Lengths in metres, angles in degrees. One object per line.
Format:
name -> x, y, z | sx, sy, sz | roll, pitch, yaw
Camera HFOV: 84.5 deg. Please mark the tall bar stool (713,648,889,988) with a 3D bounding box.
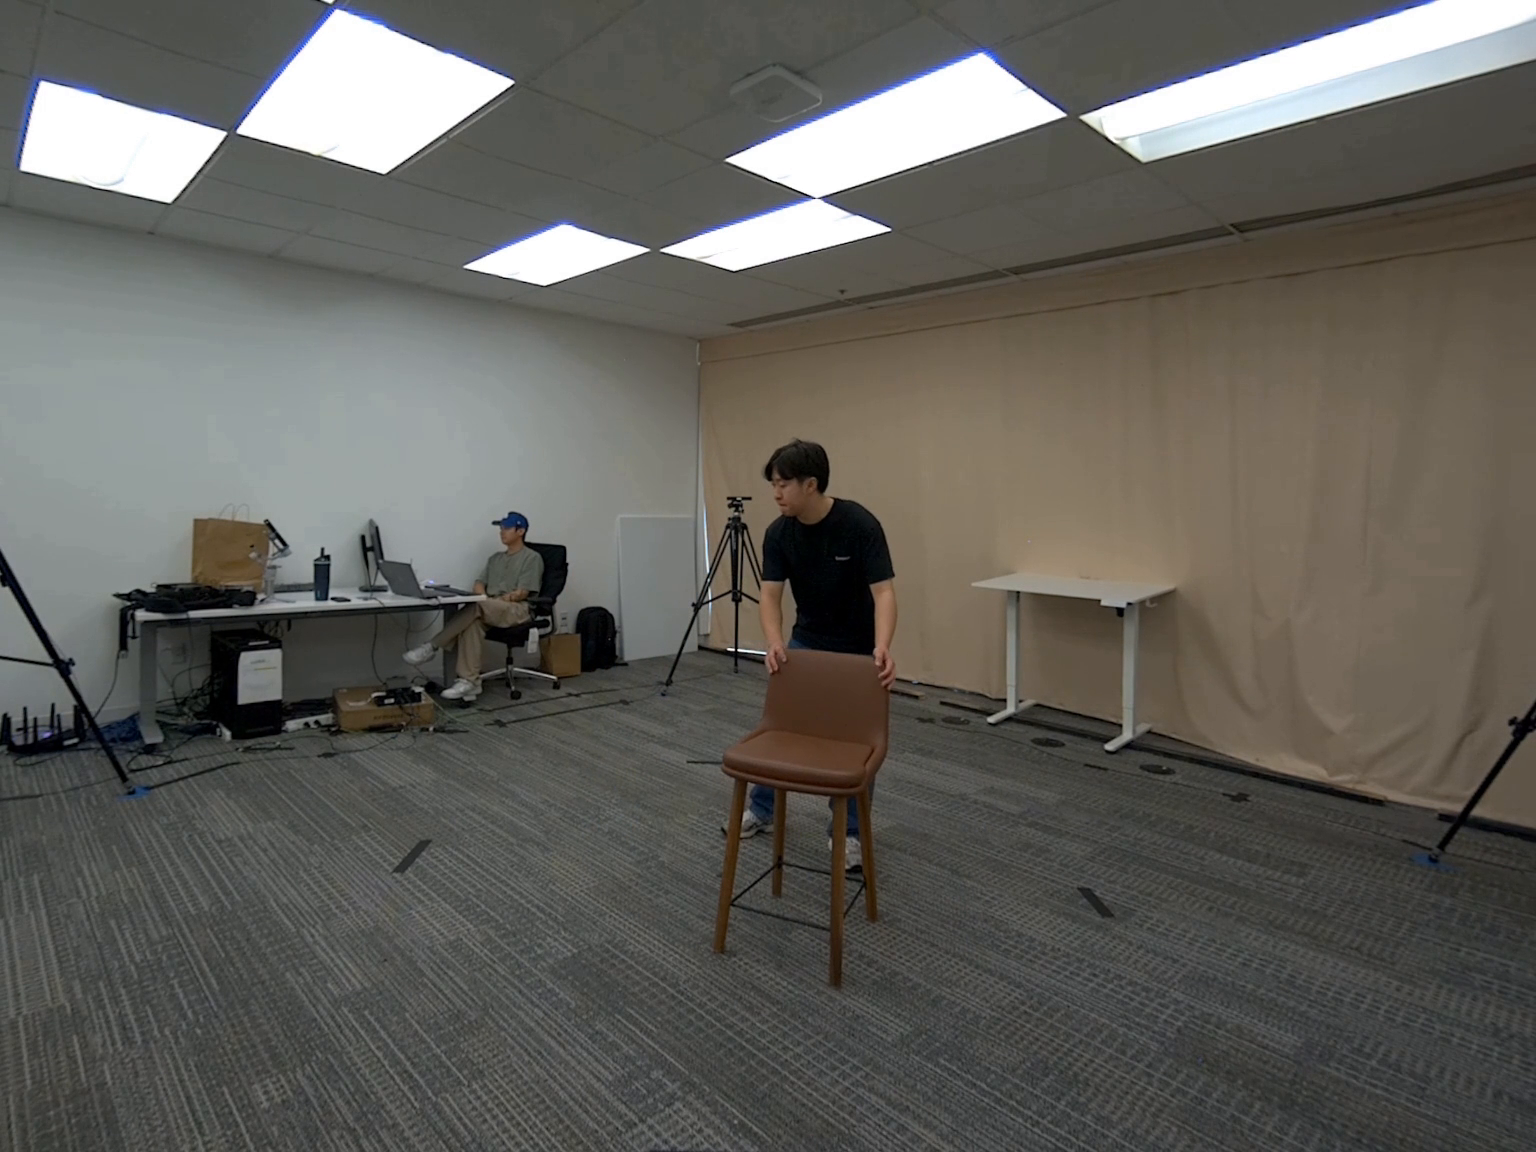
tall bar stool -> 0.119, 0.713, 2.672 | 0.466, 0.889, 0.459 | 3, 2, 26
